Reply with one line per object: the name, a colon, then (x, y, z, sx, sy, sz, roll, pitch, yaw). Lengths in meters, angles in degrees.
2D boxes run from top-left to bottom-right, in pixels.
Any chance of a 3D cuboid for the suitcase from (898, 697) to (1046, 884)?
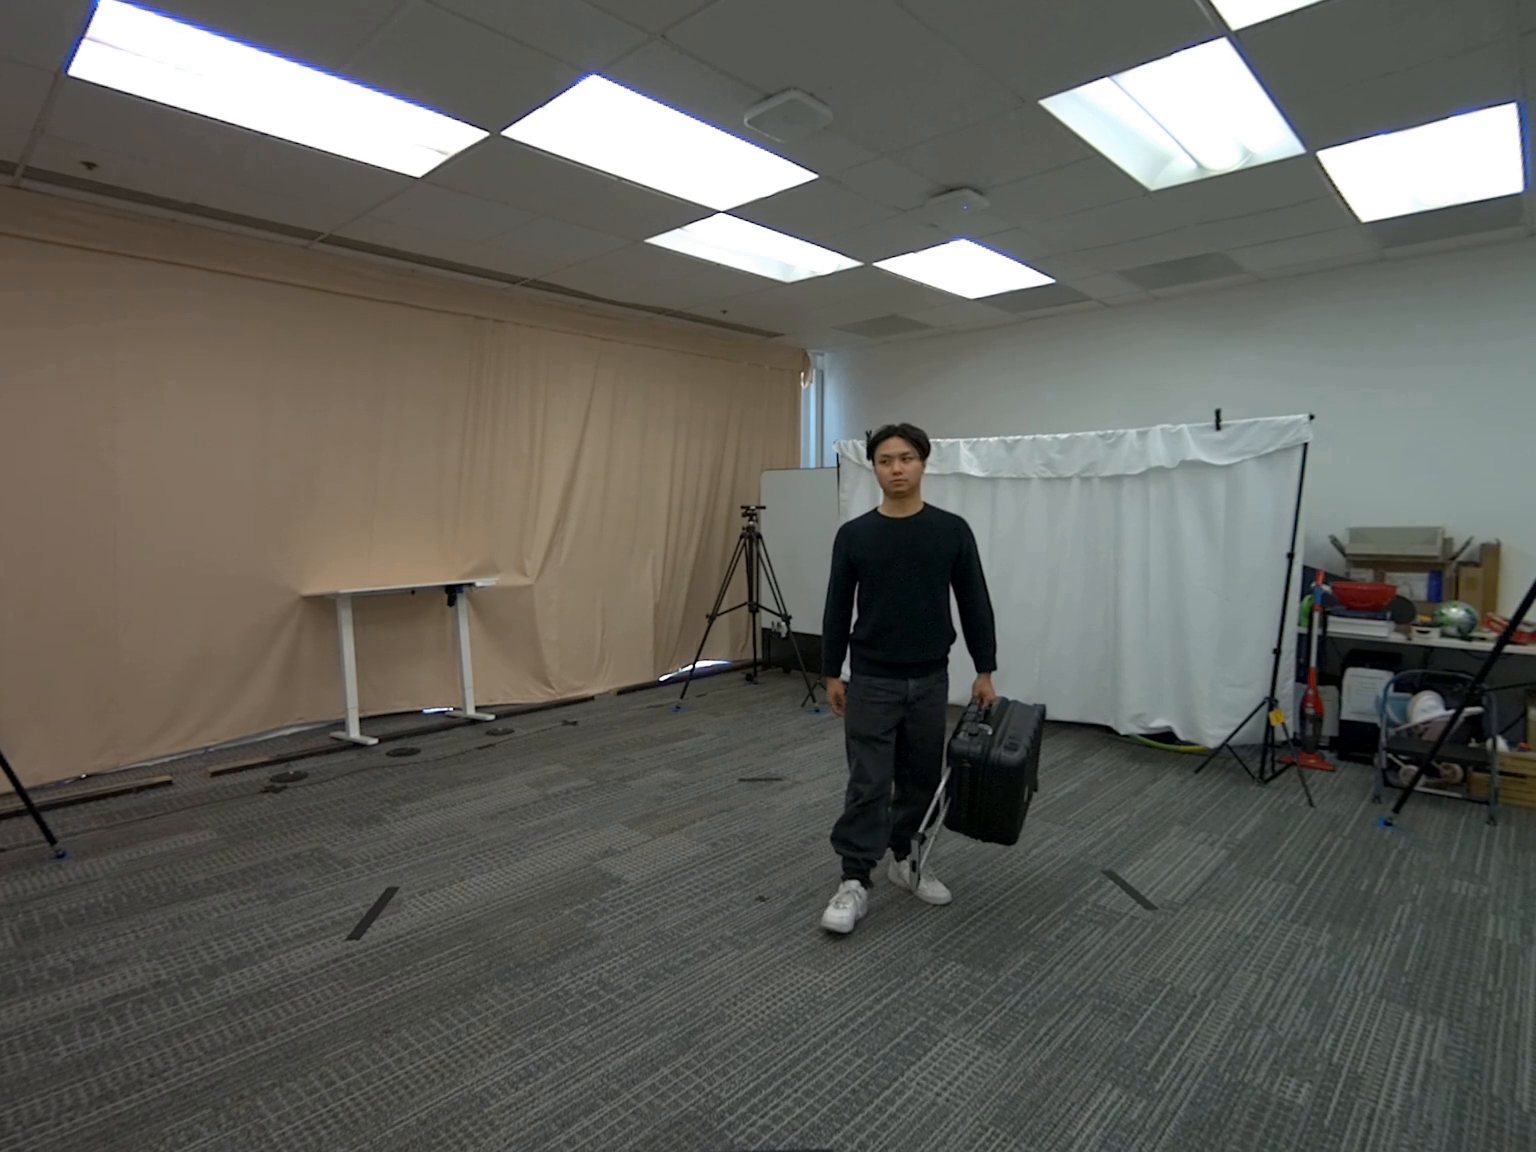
suitcase: (0.711, 0.704, 2.742, 0.264, 0.381, 0.962, 8, 16, 22)
